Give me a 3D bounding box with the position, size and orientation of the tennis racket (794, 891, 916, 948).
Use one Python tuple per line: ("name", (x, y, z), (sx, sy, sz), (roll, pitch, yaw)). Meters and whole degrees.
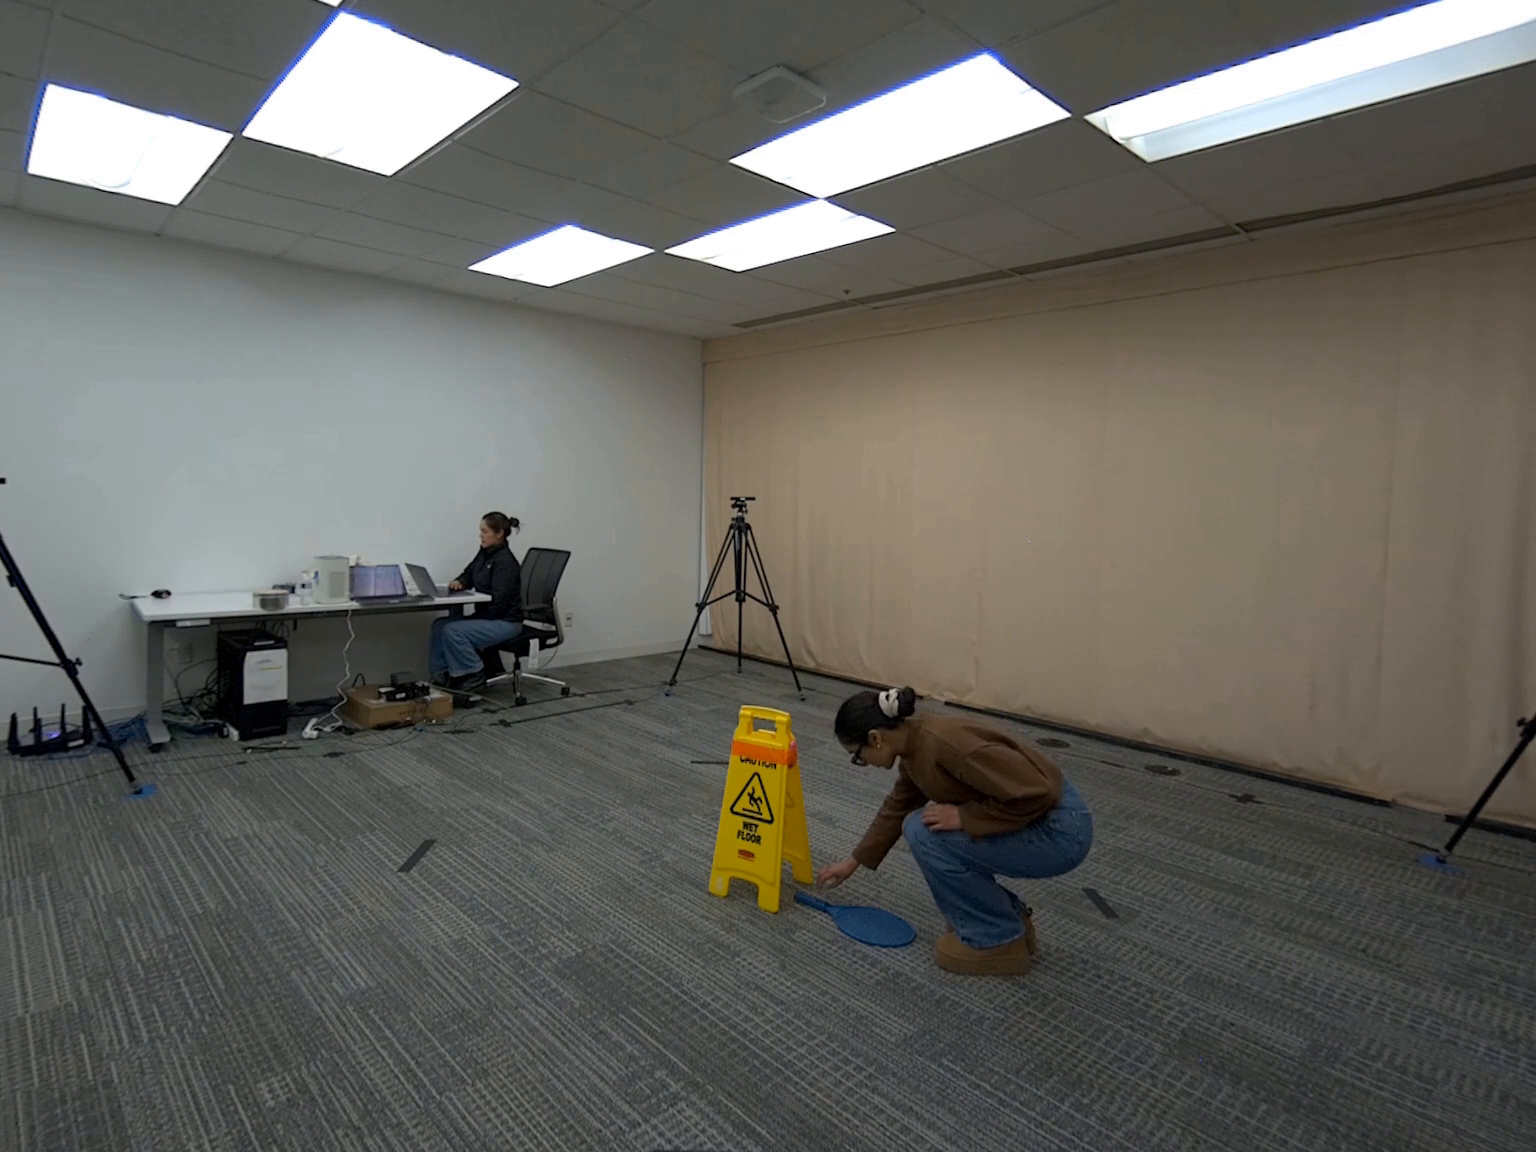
("tennis racket", (0.269, 1.126, 2.798), (0.444, 0.031, 0.209), (7, 8, 35))
